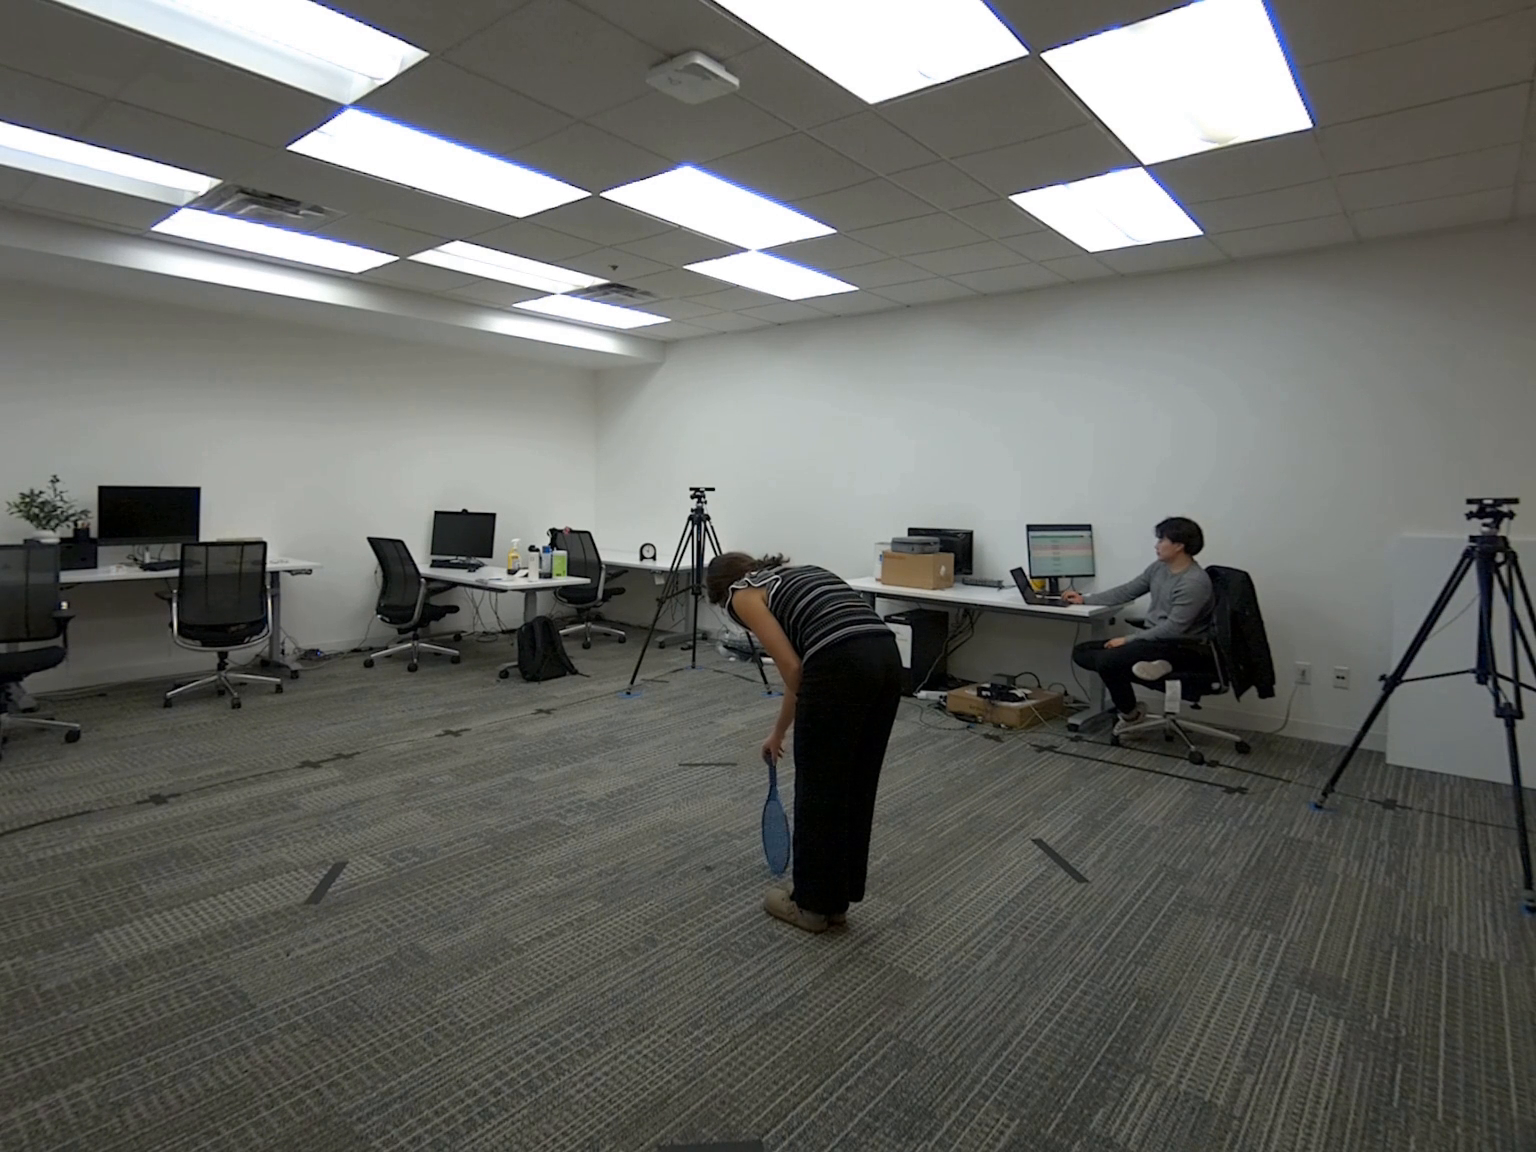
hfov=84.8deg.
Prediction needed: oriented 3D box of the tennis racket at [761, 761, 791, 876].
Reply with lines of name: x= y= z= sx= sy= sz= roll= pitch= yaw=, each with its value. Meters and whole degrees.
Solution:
tennis racket: x=0.017 y=0.859 z=3.095 sx=0.031 sy=0.435 sz=0.218 roll=1 pitch=-5 yaw=-25
